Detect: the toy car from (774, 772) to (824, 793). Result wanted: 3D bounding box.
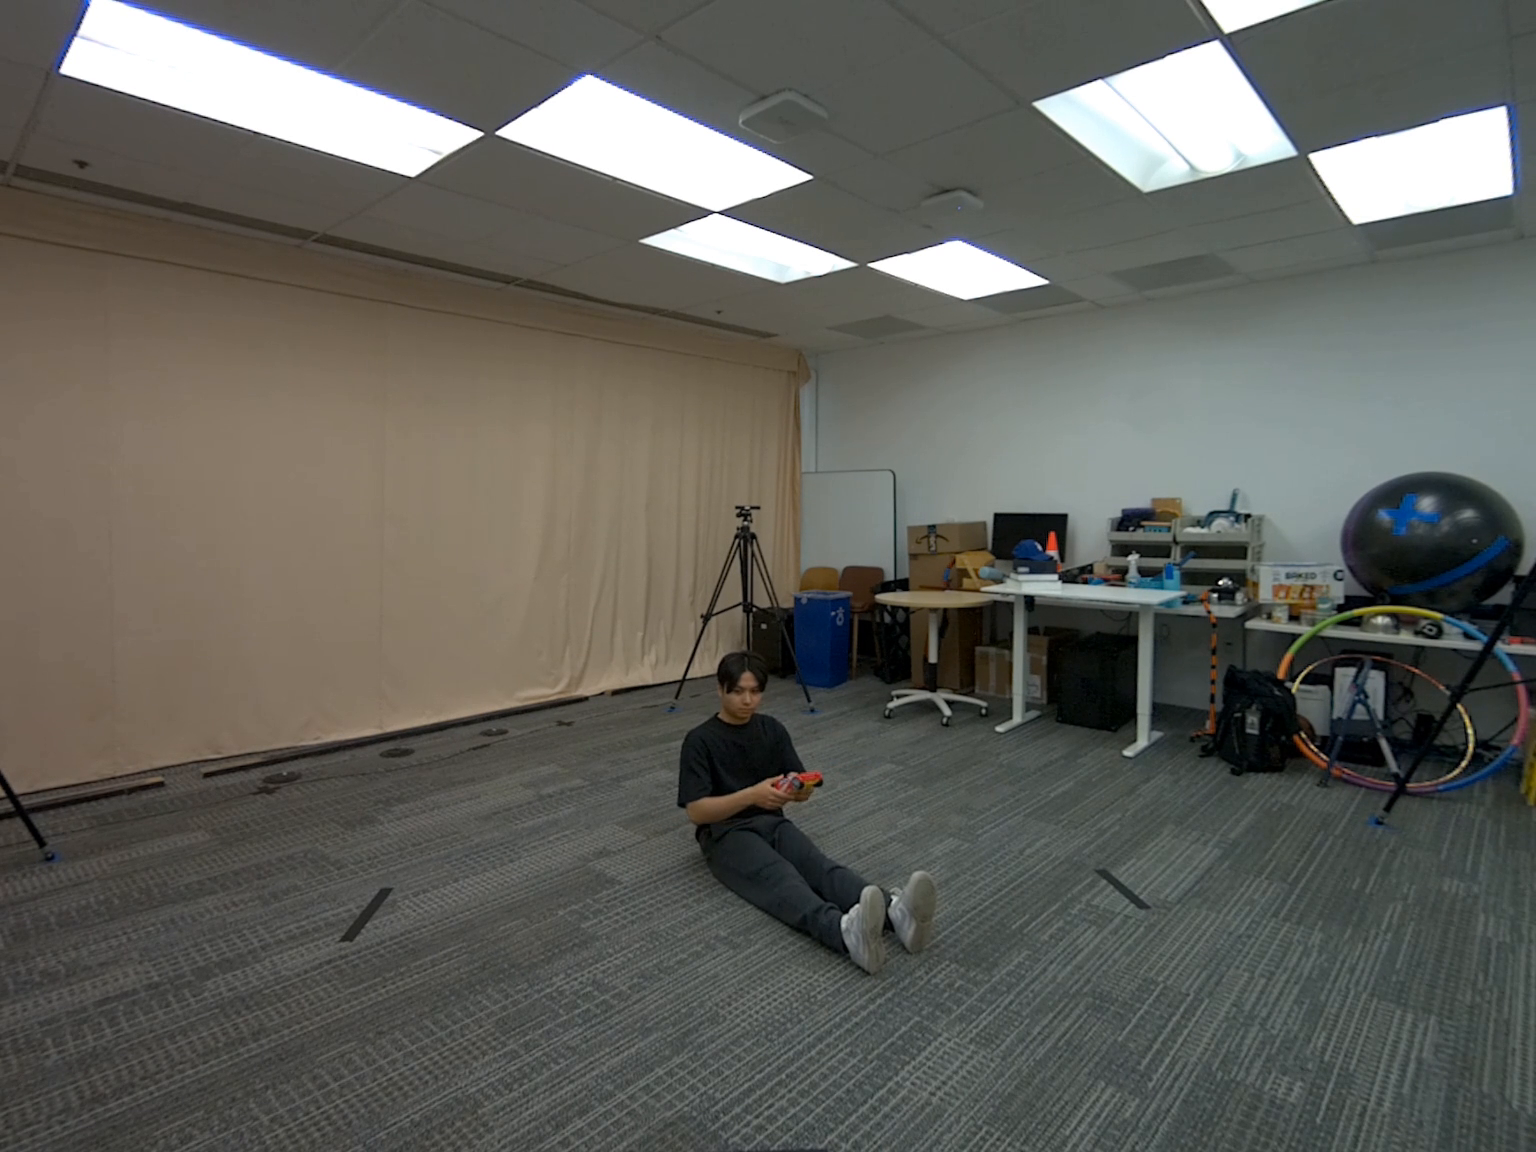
[{"bbox_3d":[0.084,0.764,3.025,0.126,0.084,0.259,1,-19,-35],"label":"toy car"}]
